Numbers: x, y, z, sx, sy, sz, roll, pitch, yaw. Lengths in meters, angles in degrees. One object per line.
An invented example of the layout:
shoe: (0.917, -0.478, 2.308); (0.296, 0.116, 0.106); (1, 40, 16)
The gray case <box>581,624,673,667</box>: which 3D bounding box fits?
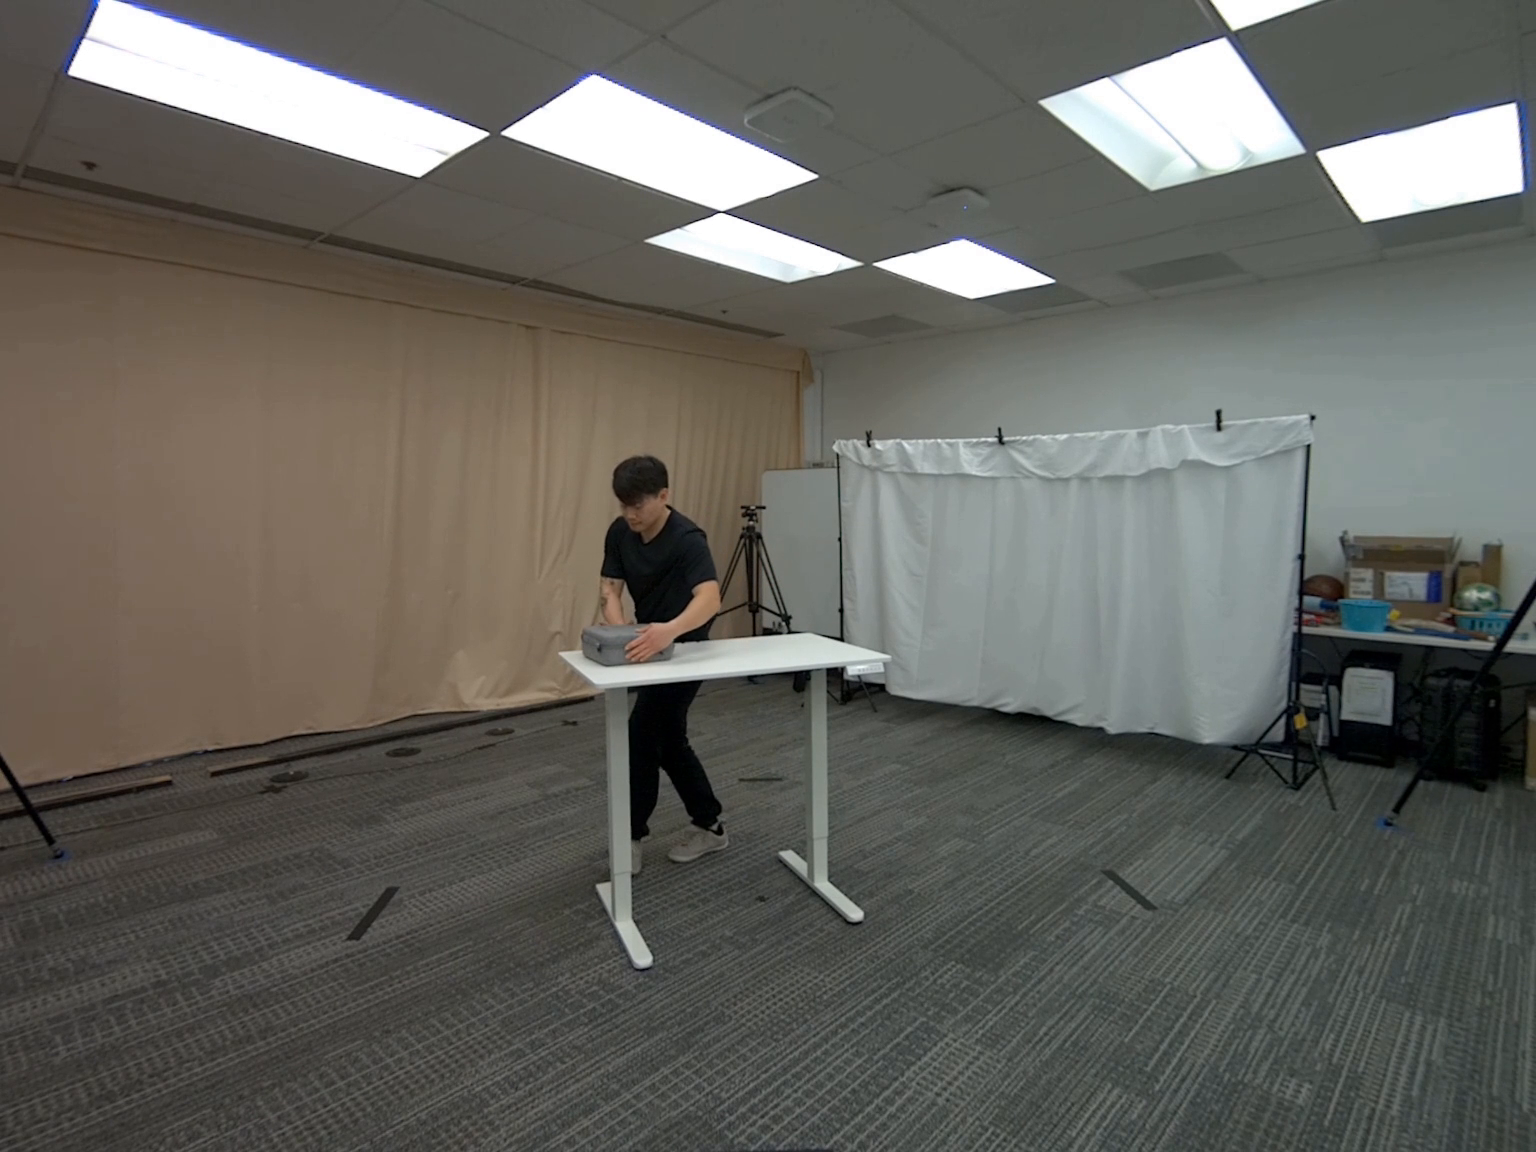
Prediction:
gray case: (-0.474, 0.229, 2.848); (0.254, 0.104, 0.264); (-2, 3, -27)
